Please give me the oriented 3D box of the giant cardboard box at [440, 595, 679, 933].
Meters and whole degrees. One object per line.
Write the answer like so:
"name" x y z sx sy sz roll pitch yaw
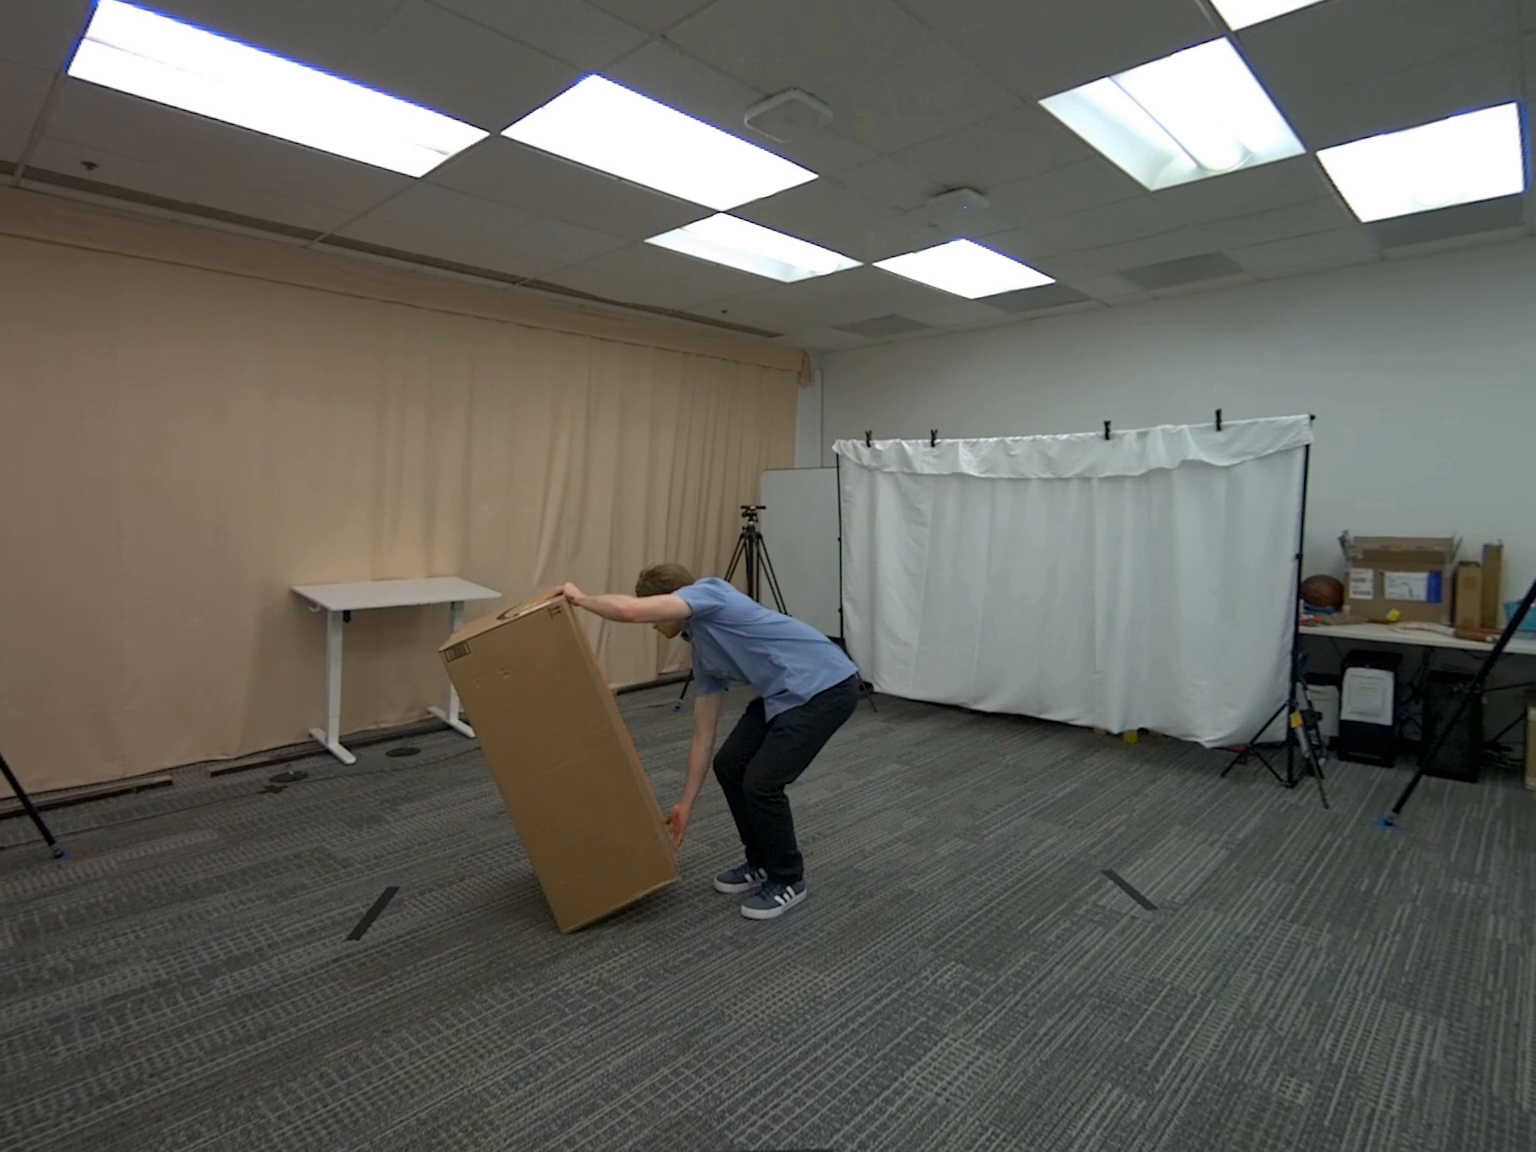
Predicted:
"giant cardboard box" -0.721 0.595 2.994 0.444 1.021 0.591 -22 6 -8
